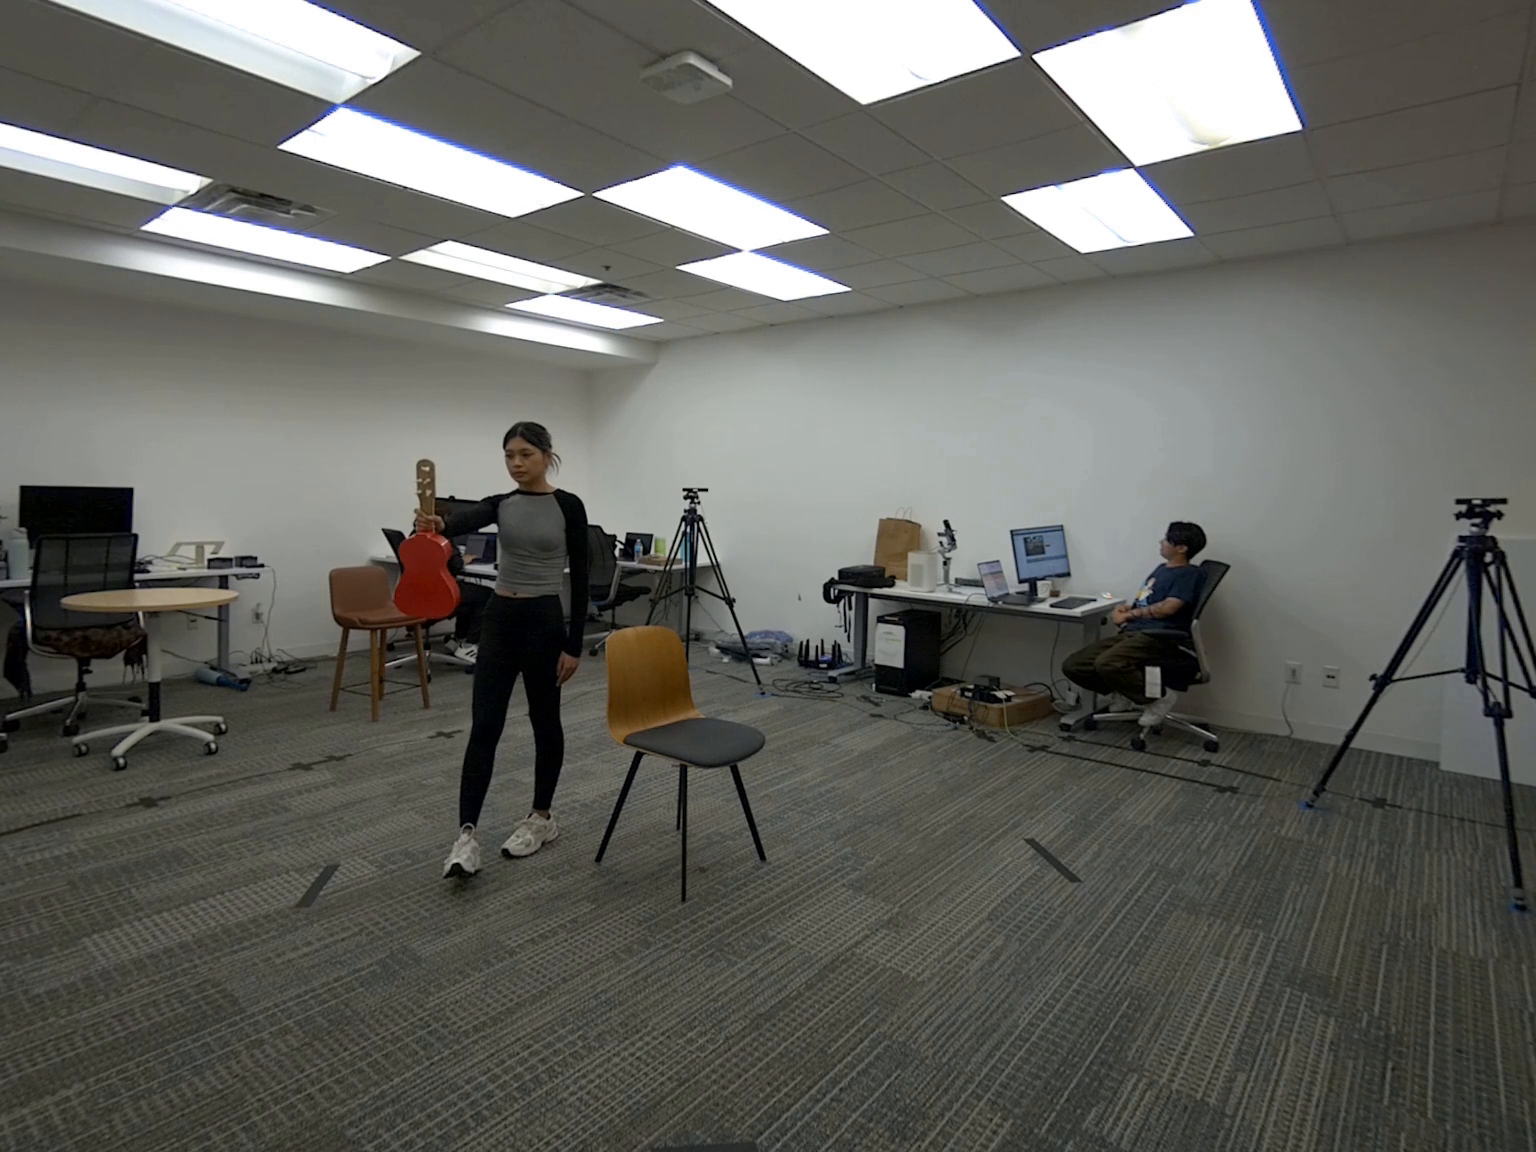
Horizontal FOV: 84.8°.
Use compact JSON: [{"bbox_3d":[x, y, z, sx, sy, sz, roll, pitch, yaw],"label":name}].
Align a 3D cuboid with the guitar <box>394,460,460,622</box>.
[{"bbox_3d":[-1.109,-0.115,2.652,0.194,0.490,0.071,-2,15,3],"label":"guitar"}]
